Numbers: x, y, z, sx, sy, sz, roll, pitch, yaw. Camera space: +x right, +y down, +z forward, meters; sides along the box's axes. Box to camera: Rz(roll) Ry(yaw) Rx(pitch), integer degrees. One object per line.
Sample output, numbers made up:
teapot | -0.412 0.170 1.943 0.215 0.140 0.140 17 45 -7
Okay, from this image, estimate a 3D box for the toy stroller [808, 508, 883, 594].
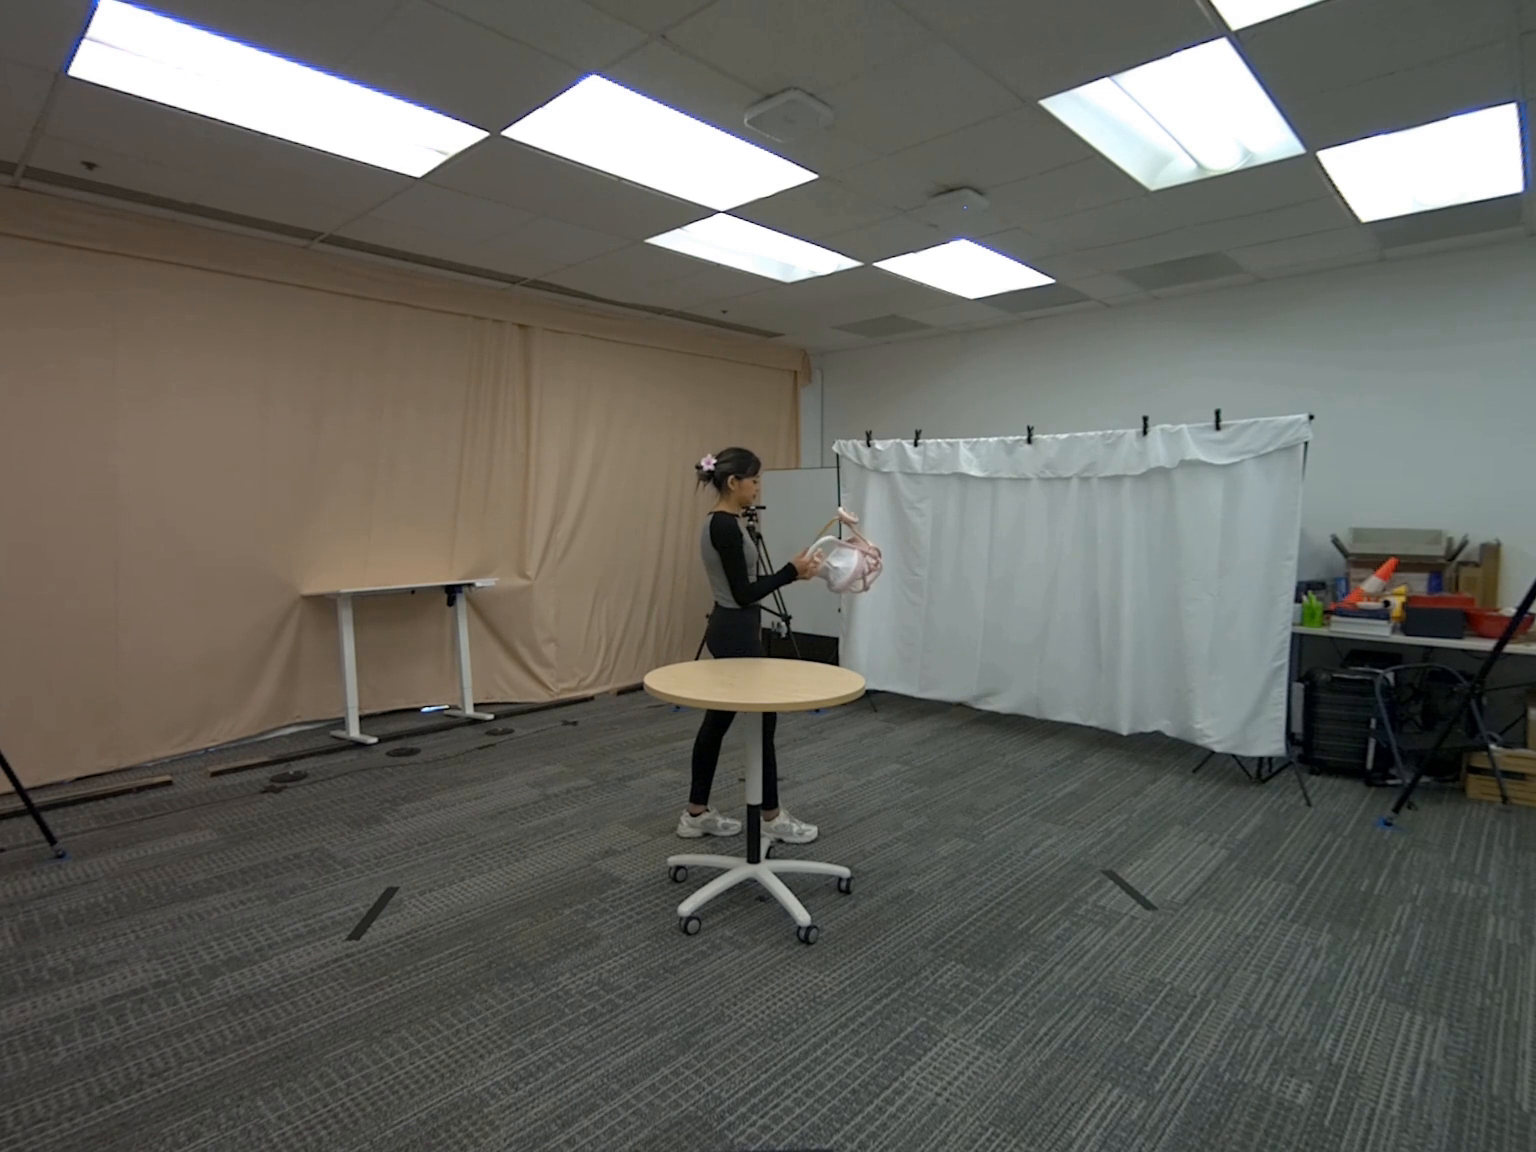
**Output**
toy stroller | 0.341 -0.065 3.695 0.341 0.283 0.532 42 20 -1
